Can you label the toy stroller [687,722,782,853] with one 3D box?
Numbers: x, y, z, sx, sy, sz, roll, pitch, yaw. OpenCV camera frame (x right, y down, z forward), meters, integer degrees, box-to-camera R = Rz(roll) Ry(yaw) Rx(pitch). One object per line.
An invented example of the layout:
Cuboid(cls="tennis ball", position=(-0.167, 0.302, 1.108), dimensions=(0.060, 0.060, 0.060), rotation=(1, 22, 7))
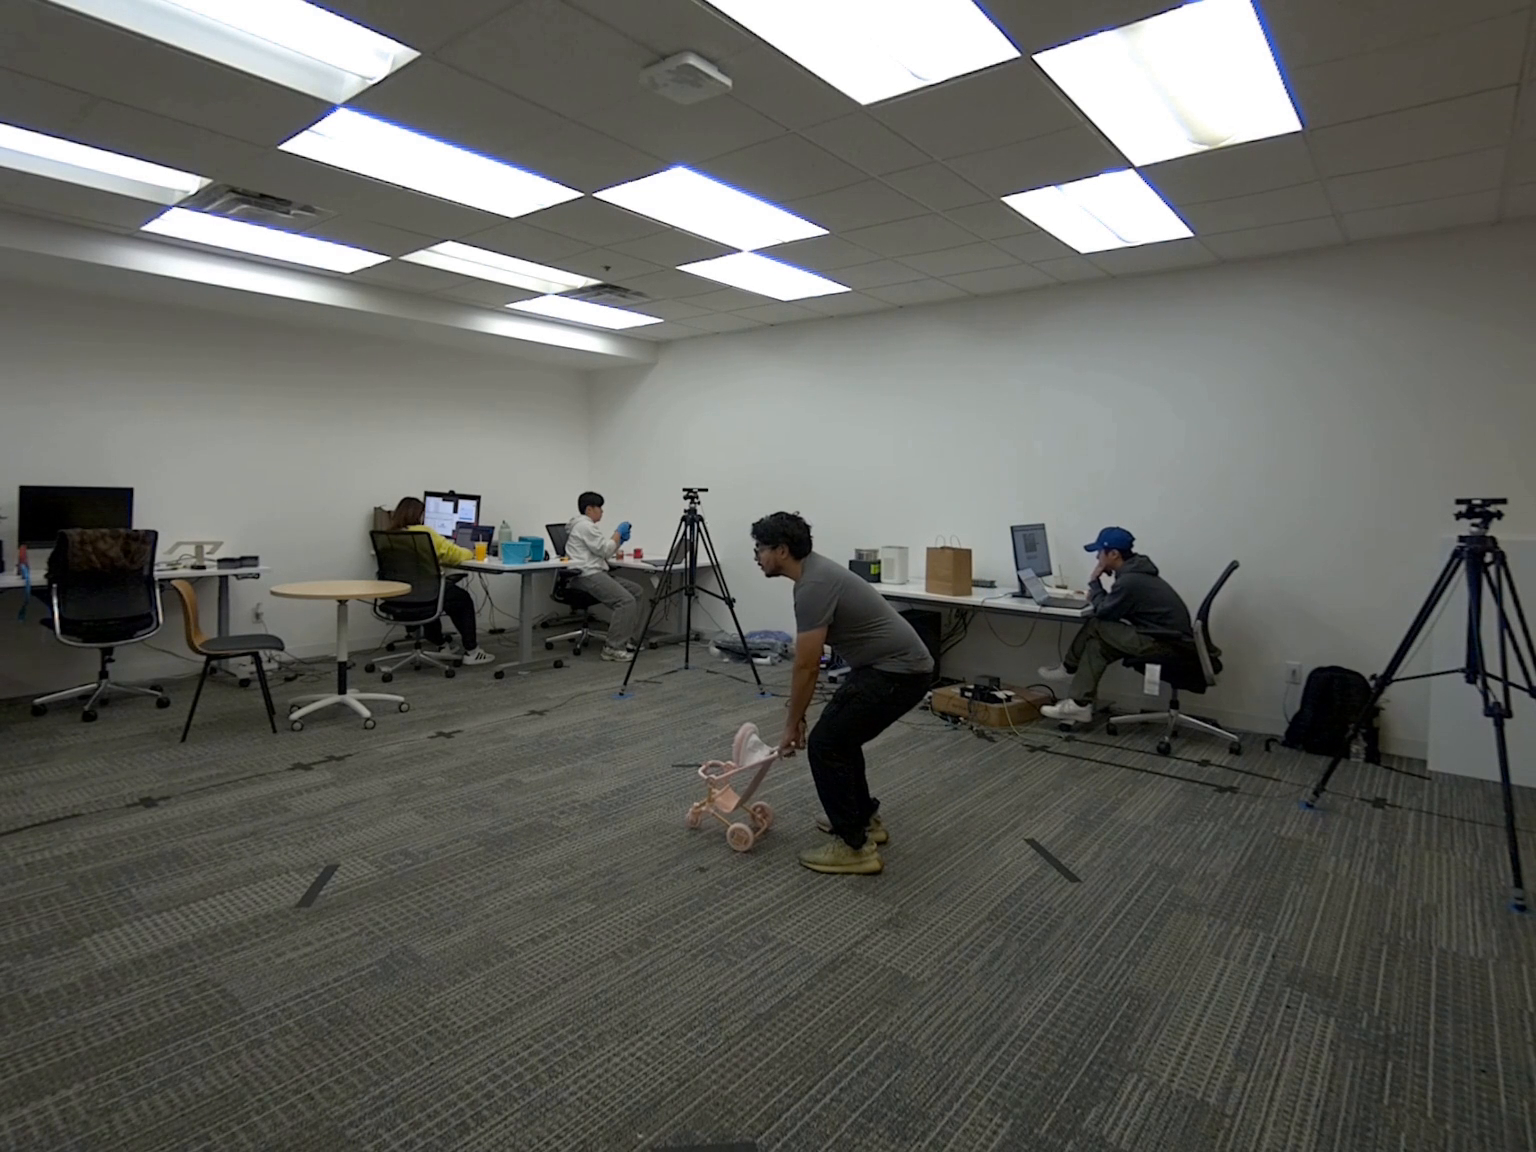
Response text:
Cuboid(cls="toy stroller", position=(-0.126, 0.821, 3.406), dimensions=(0.351, 0.532, 0.275), rotation=(21, 10, 23))
